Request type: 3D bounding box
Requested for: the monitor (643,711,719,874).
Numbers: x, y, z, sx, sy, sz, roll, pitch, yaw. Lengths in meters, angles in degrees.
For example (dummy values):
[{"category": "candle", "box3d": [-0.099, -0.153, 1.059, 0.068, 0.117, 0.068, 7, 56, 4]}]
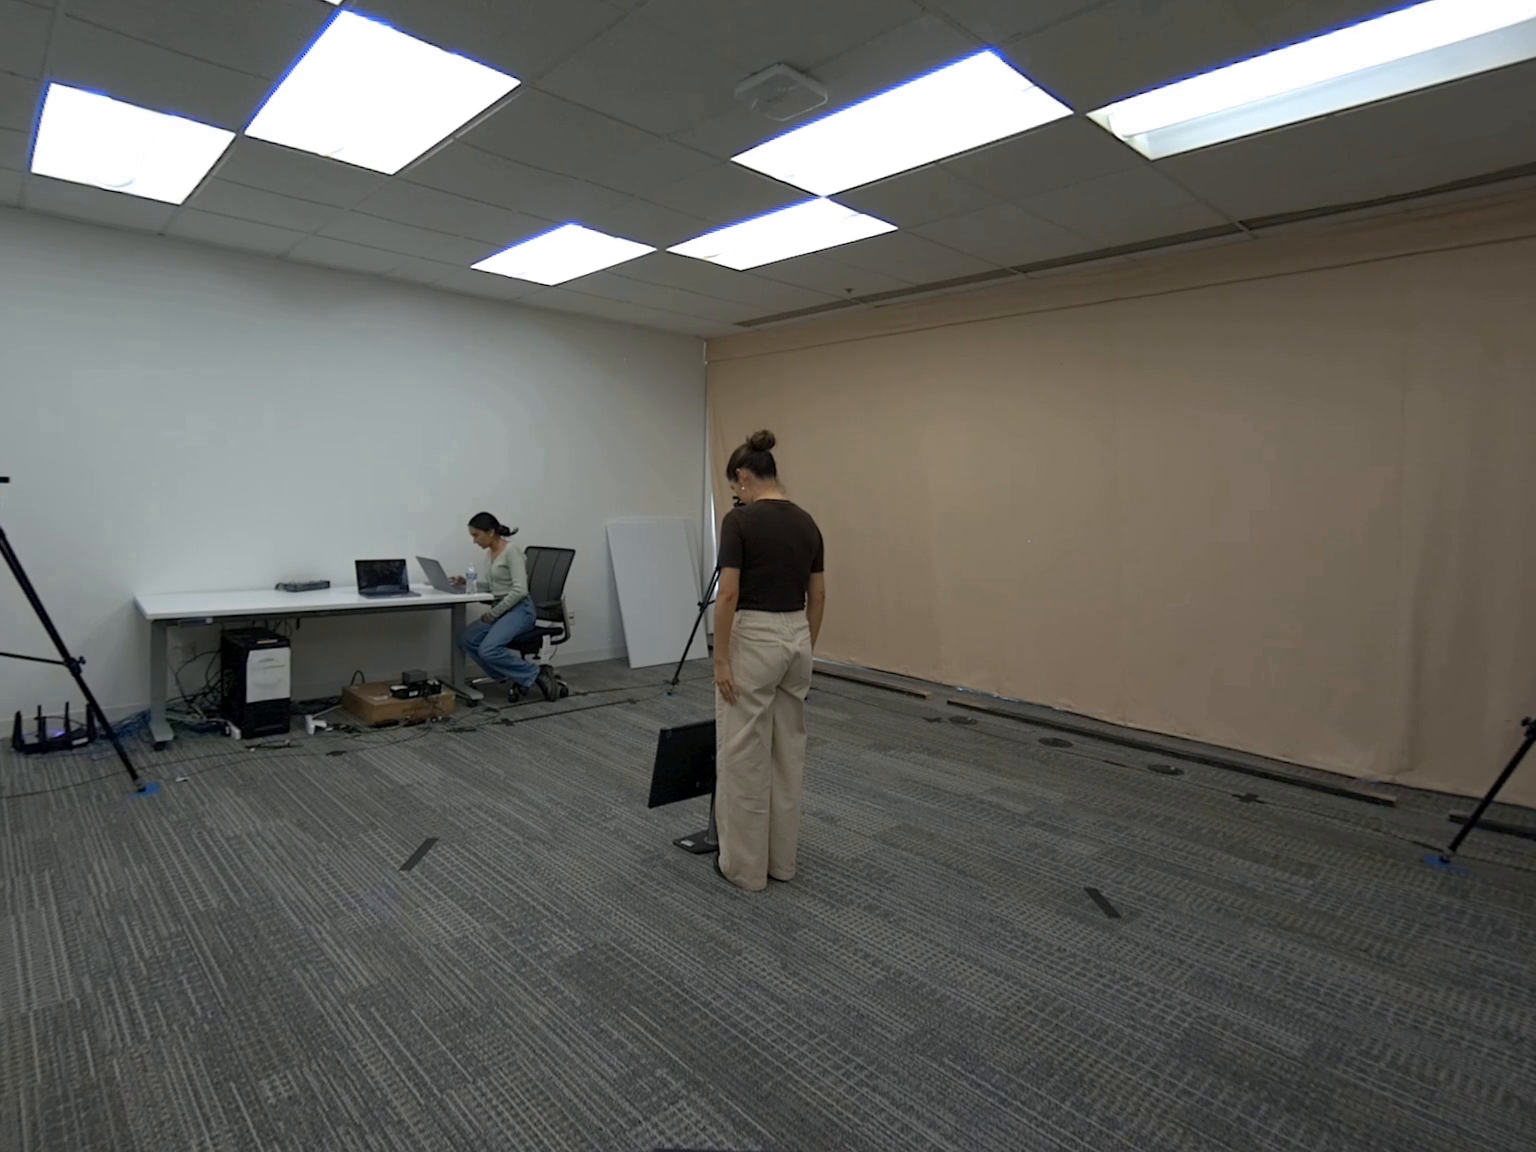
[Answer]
[{"category": "monitor", "box3d": [-0.215, 0.826, 3.379, 0.527, 0.521, 0.192, -2, 6, -41]}]
